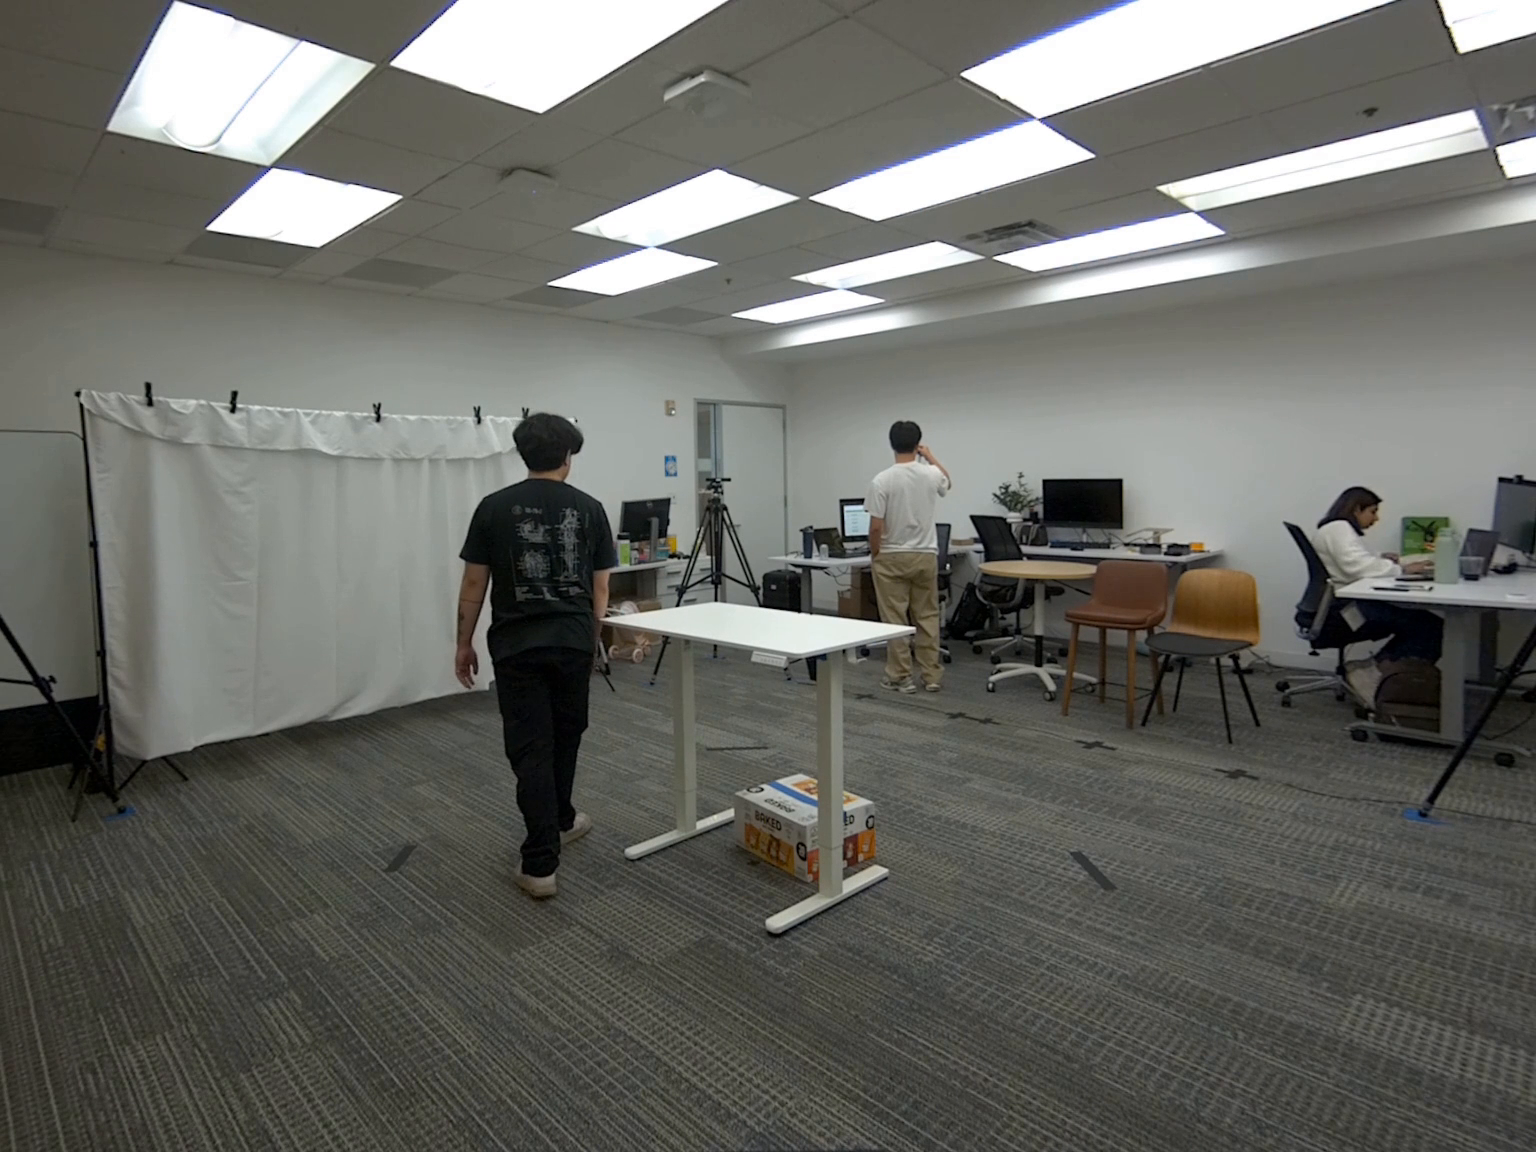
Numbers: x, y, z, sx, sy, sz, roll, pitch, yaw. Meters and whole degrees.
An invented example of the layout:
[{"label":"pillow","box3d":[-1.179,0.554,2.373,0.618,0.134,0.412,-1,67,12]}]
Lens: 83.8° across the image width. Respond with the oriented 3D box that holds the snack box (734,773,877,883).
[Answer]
[{"label":"snack box","box3d":[0.130,0.926,3.187,0.331,0.205,0.417,-5,7,-38]}]
